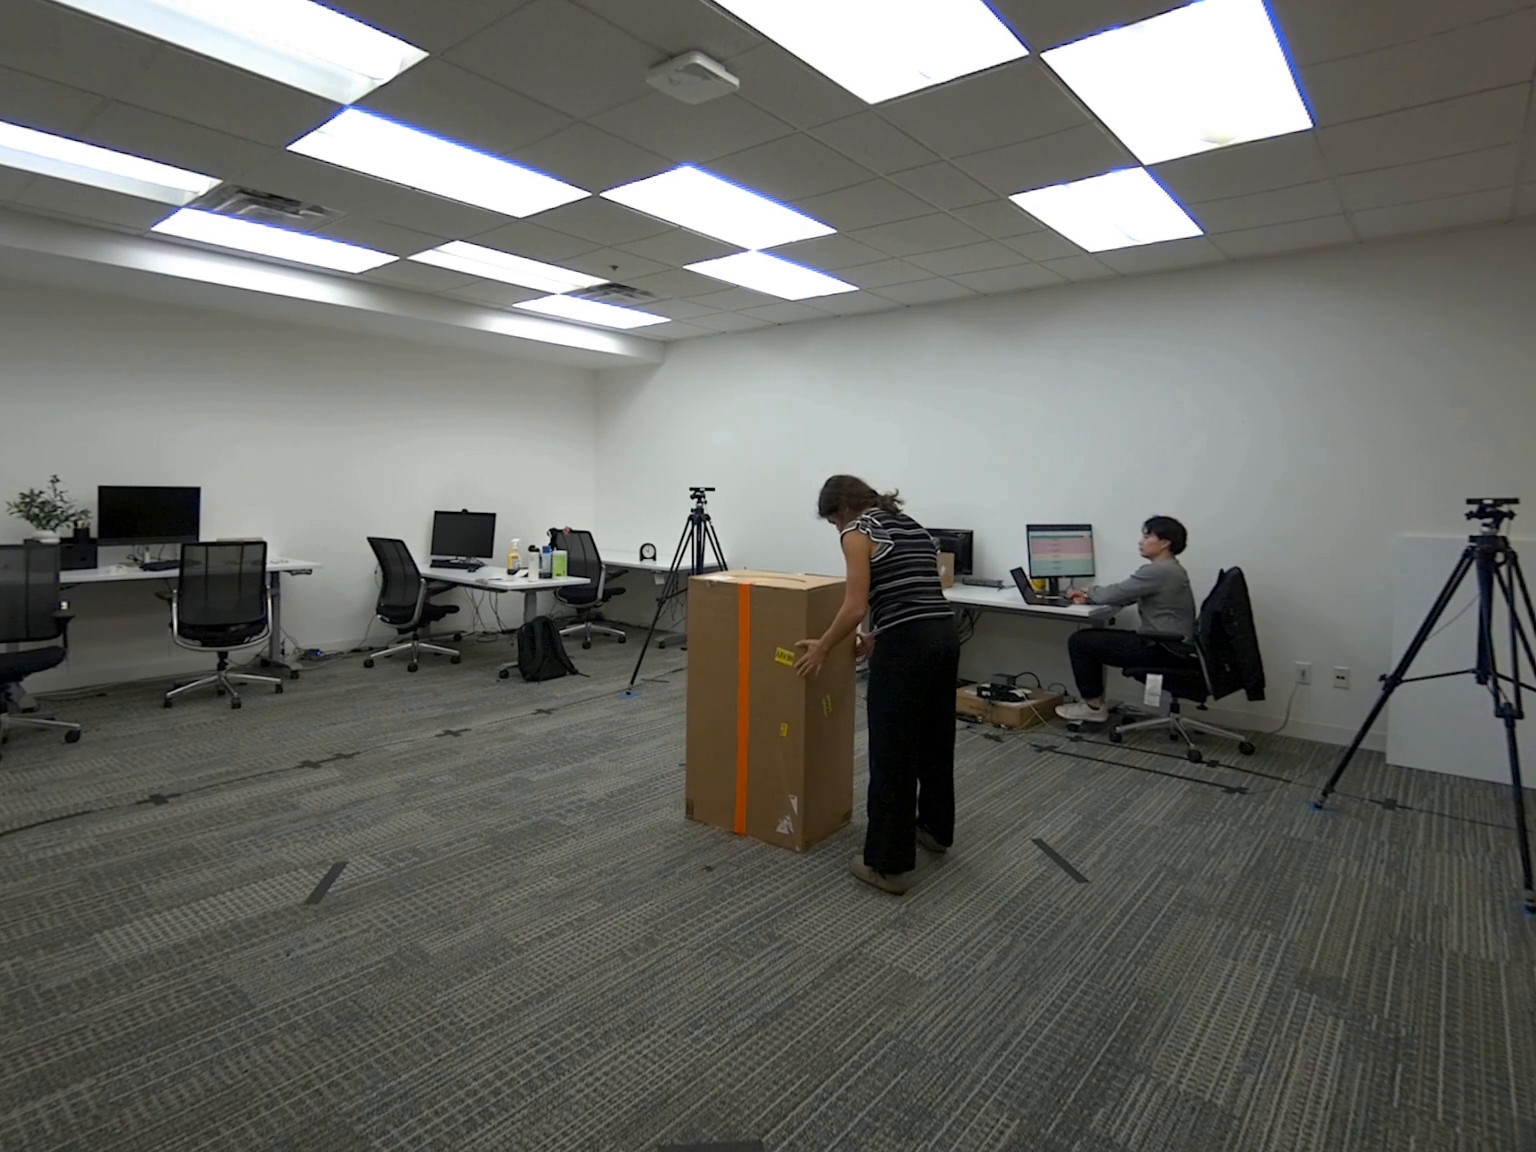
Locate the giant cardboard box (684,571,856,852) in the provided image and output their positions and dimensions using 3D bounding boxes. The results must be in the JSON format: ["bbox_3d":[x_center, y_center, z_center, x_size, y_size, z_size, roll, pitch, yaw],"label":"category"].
[{"bbox_3d":[-0.001,0.516,3.553,0.596,1.021,0.414,4,5,35],"label":"giant cardboard box"}]
